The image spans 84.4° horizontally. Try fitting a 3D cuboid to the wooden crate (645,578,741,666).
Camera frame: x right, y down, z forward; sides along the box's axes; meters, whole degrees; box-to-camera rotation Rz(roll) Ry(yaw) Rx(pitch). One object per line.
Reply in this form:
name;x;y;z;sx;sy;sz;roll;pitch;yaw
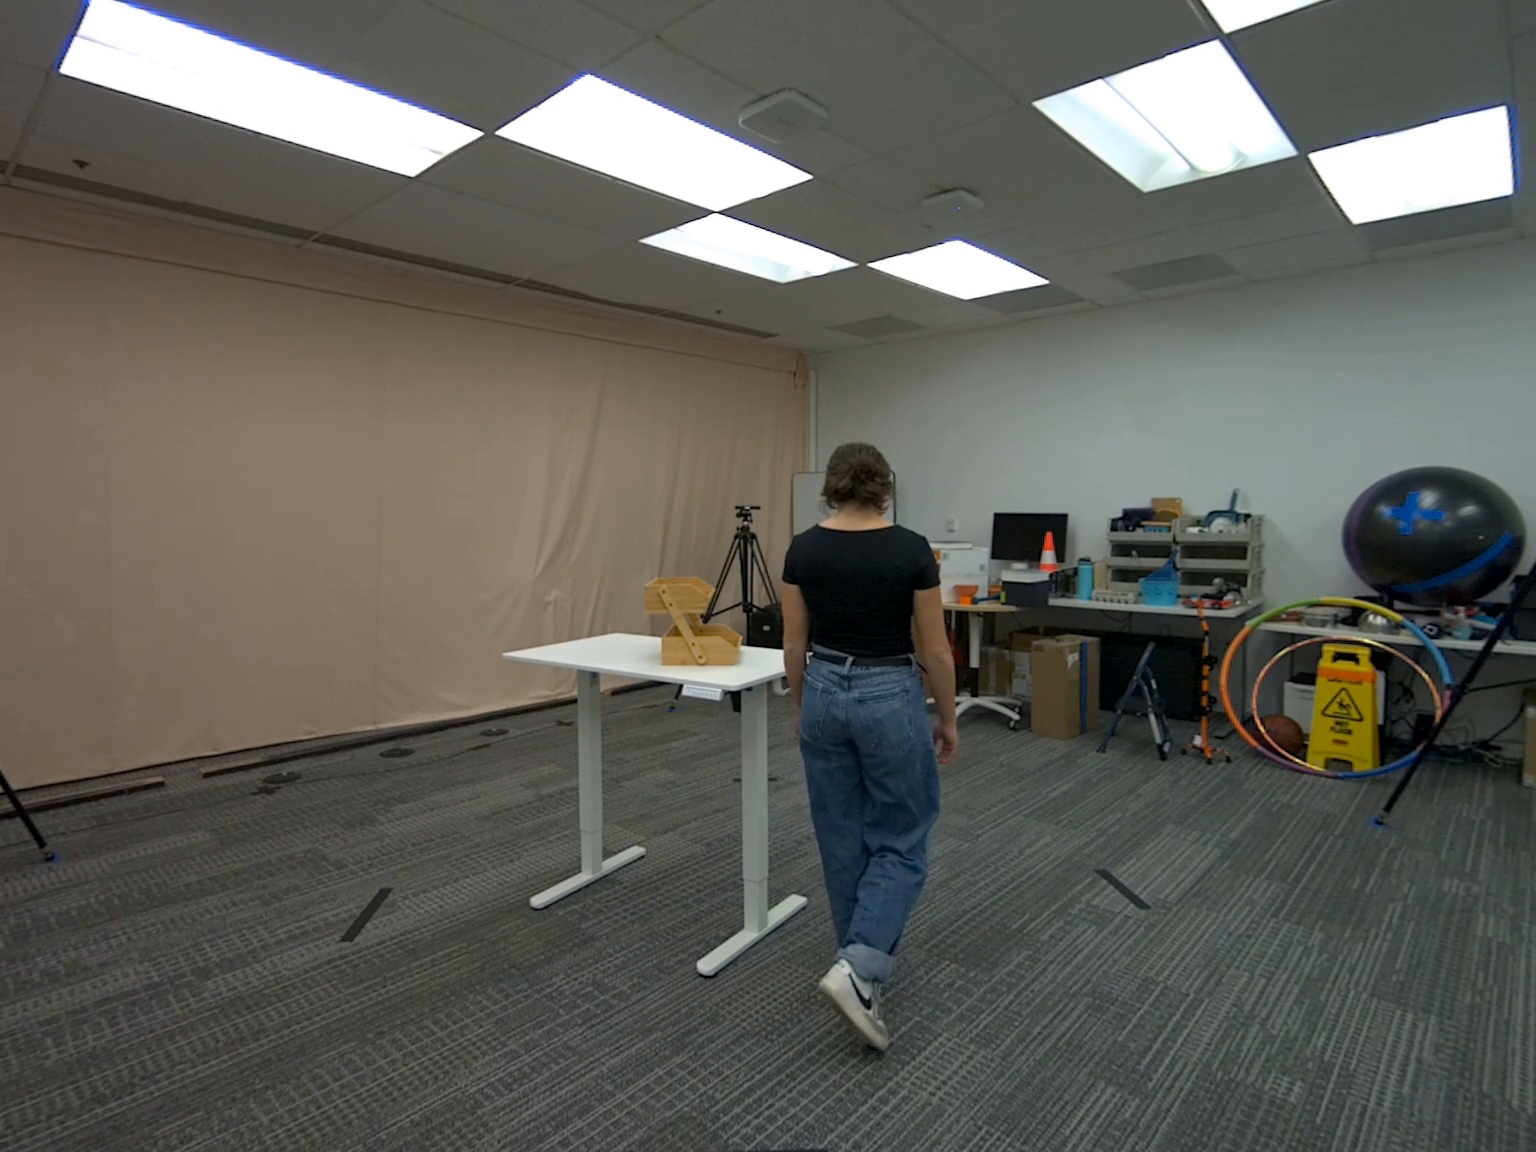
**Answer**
wooden crate;-0.239;0.147;2.830;0.303;0.273;0.324;-1;3;1
